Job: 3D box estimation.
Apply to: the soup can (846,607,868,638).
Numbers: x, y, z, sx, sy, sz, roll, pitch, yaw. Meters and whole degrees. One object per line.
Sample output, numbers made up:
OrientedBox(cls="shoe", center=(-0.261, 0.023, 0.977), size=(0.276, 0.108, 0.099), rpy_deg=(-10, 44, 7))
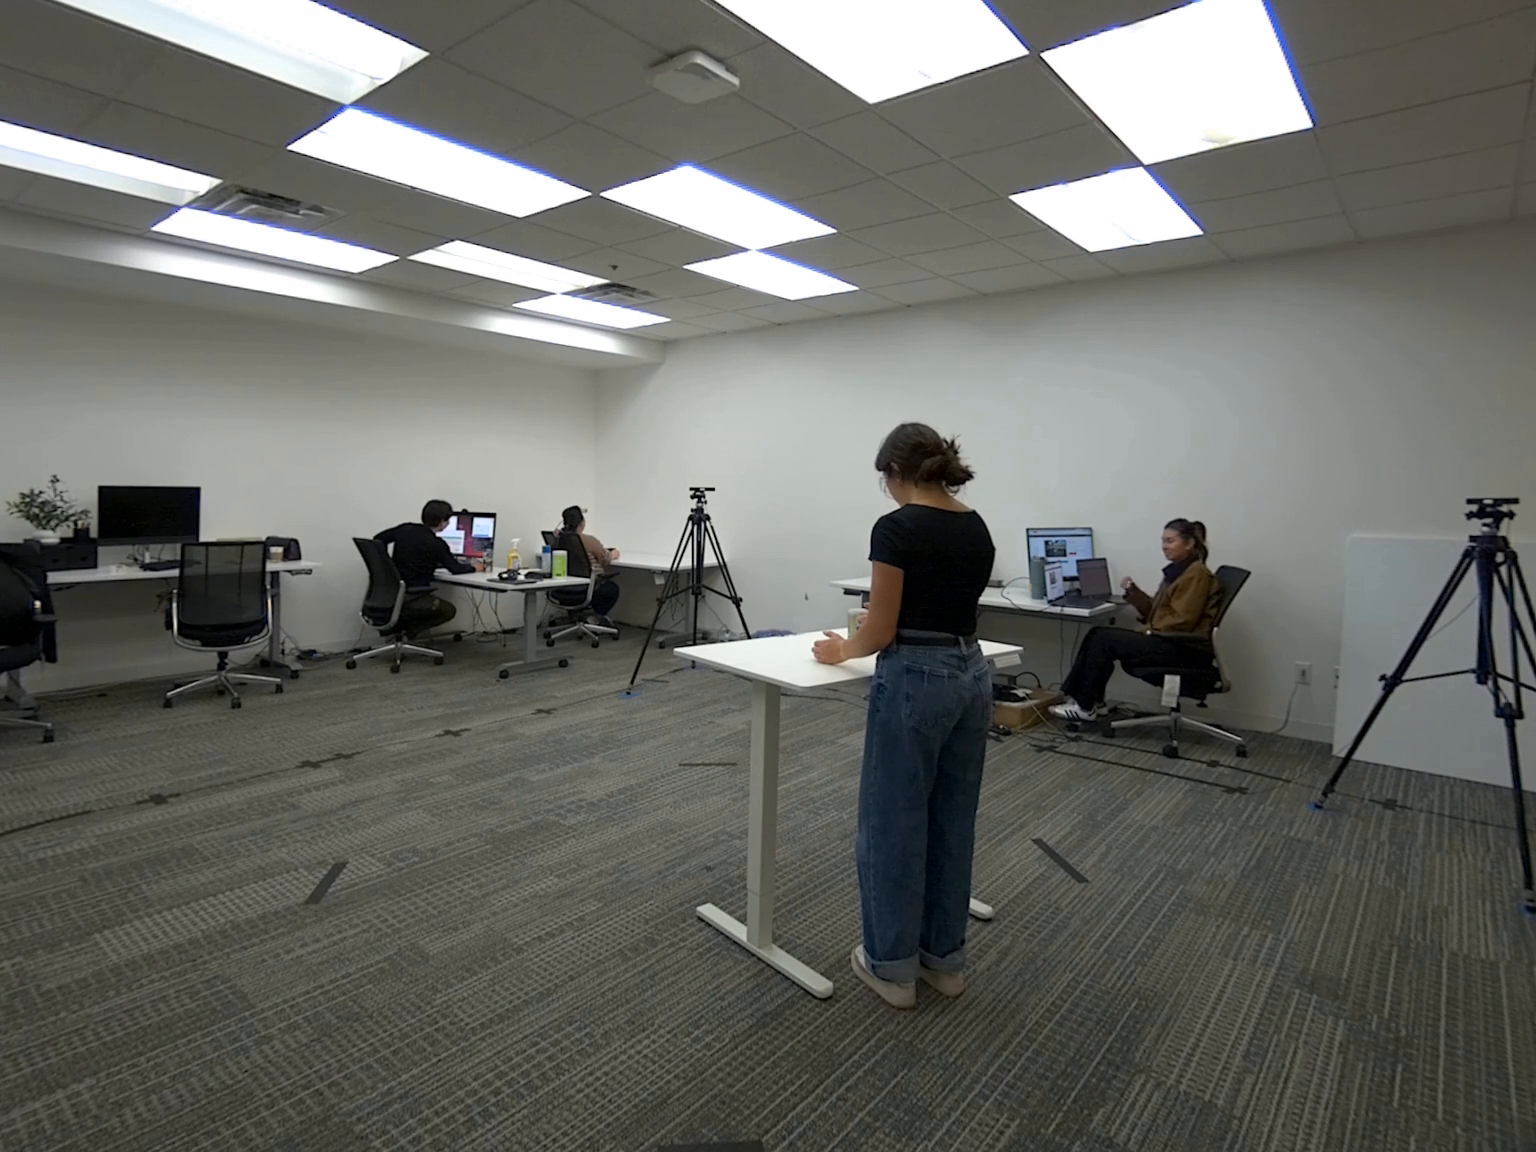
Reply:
OrientedBox(cls="soup can", center=(0.289, 0.169, 2.790), size=(0.067, 0.121, 0.067), rpy_deg=(0, 6, -2))
